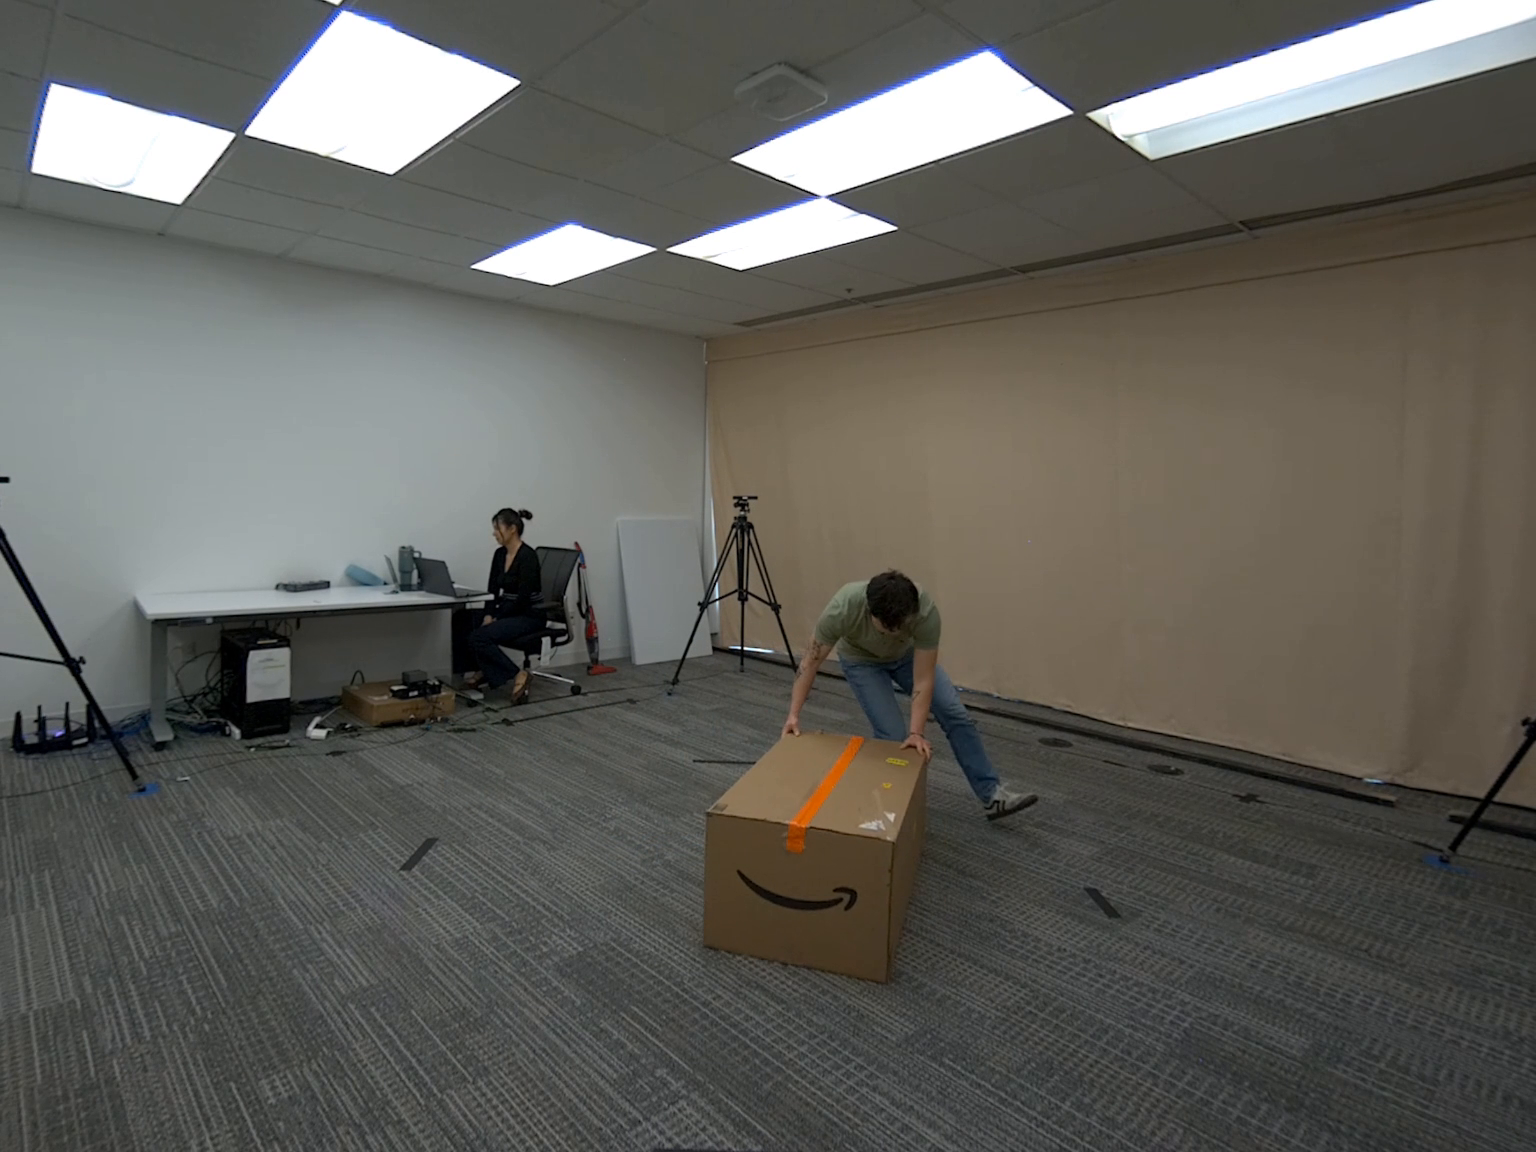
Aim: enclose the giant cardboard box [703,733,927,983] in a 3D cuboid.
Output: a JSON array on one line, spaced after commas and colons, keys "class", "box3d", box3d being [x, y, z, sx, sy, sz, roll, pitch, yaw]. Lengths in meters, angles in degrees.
[{"class": "giant cardboard box", "box3d": [0.208, 0.910, 2.965, 0.586, 0.425, 1.014, 4, 5, 17]}]
